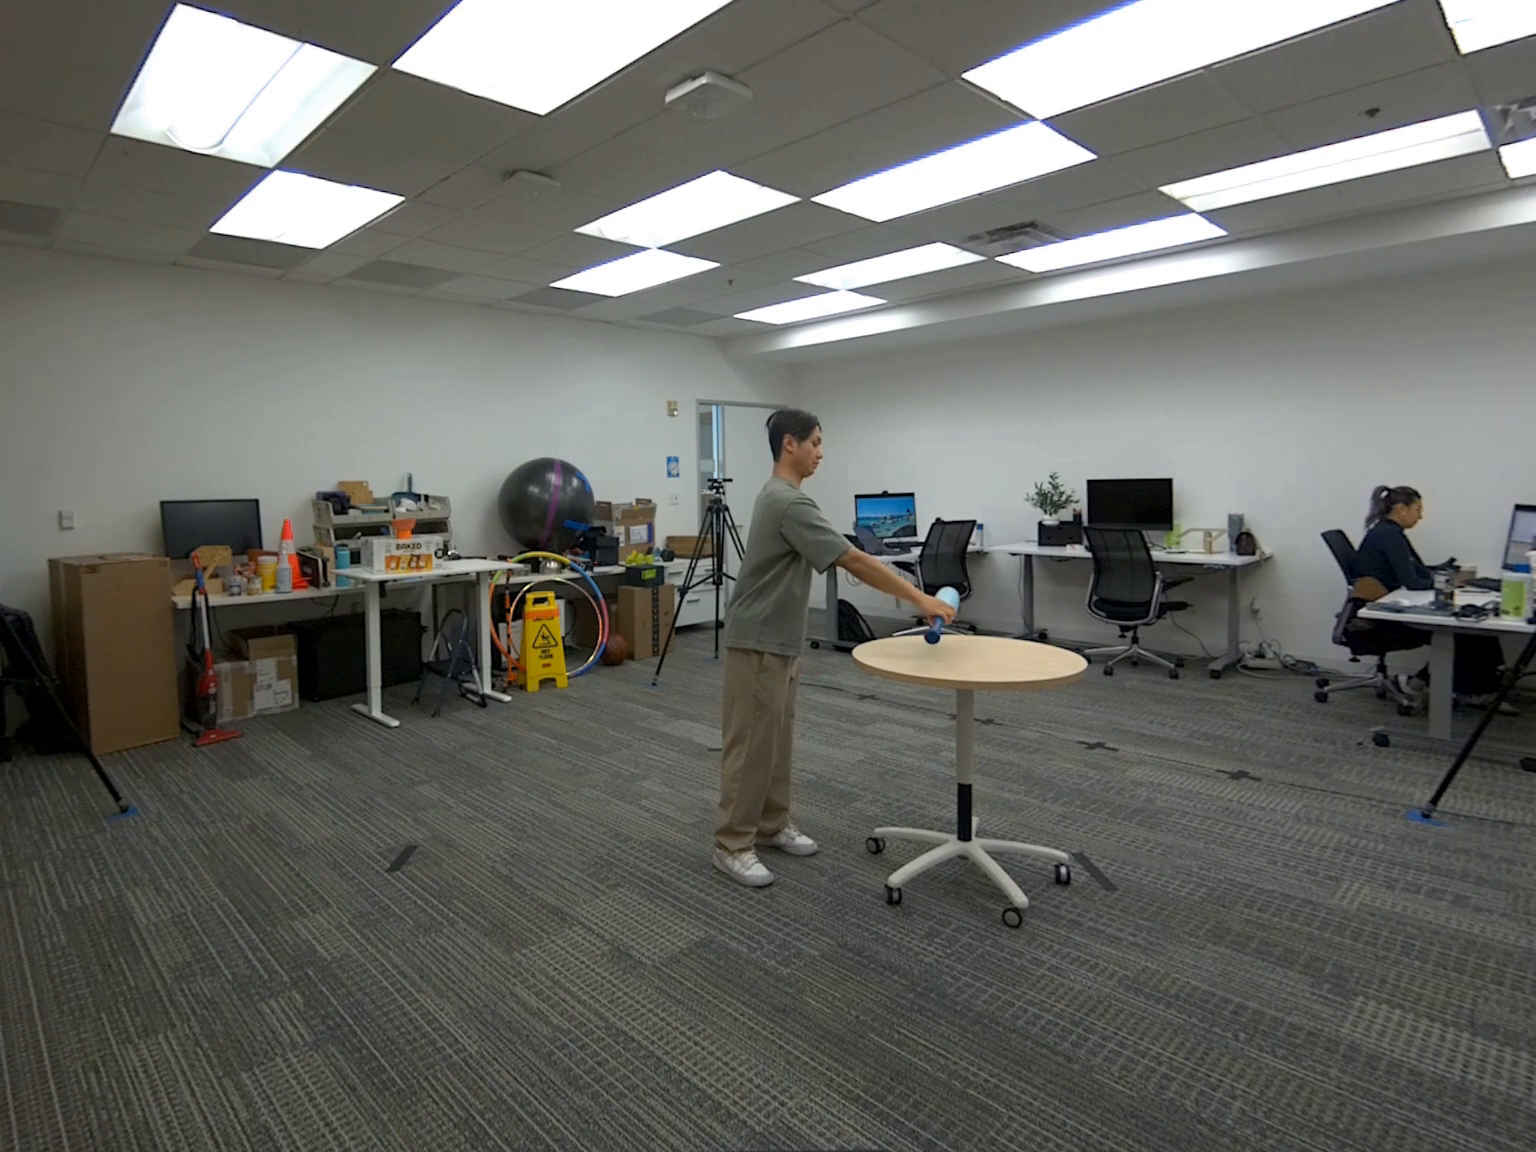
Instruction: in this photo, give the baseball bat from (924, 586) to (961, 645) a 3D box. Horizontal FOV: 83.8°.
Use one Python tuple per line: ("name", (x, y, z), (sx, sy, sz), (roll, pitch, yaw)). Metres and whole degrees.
("baseball bat", (0.584, 0.120, 2.893), (0.090, 0.088, 0.539), (0, 12, 16))
